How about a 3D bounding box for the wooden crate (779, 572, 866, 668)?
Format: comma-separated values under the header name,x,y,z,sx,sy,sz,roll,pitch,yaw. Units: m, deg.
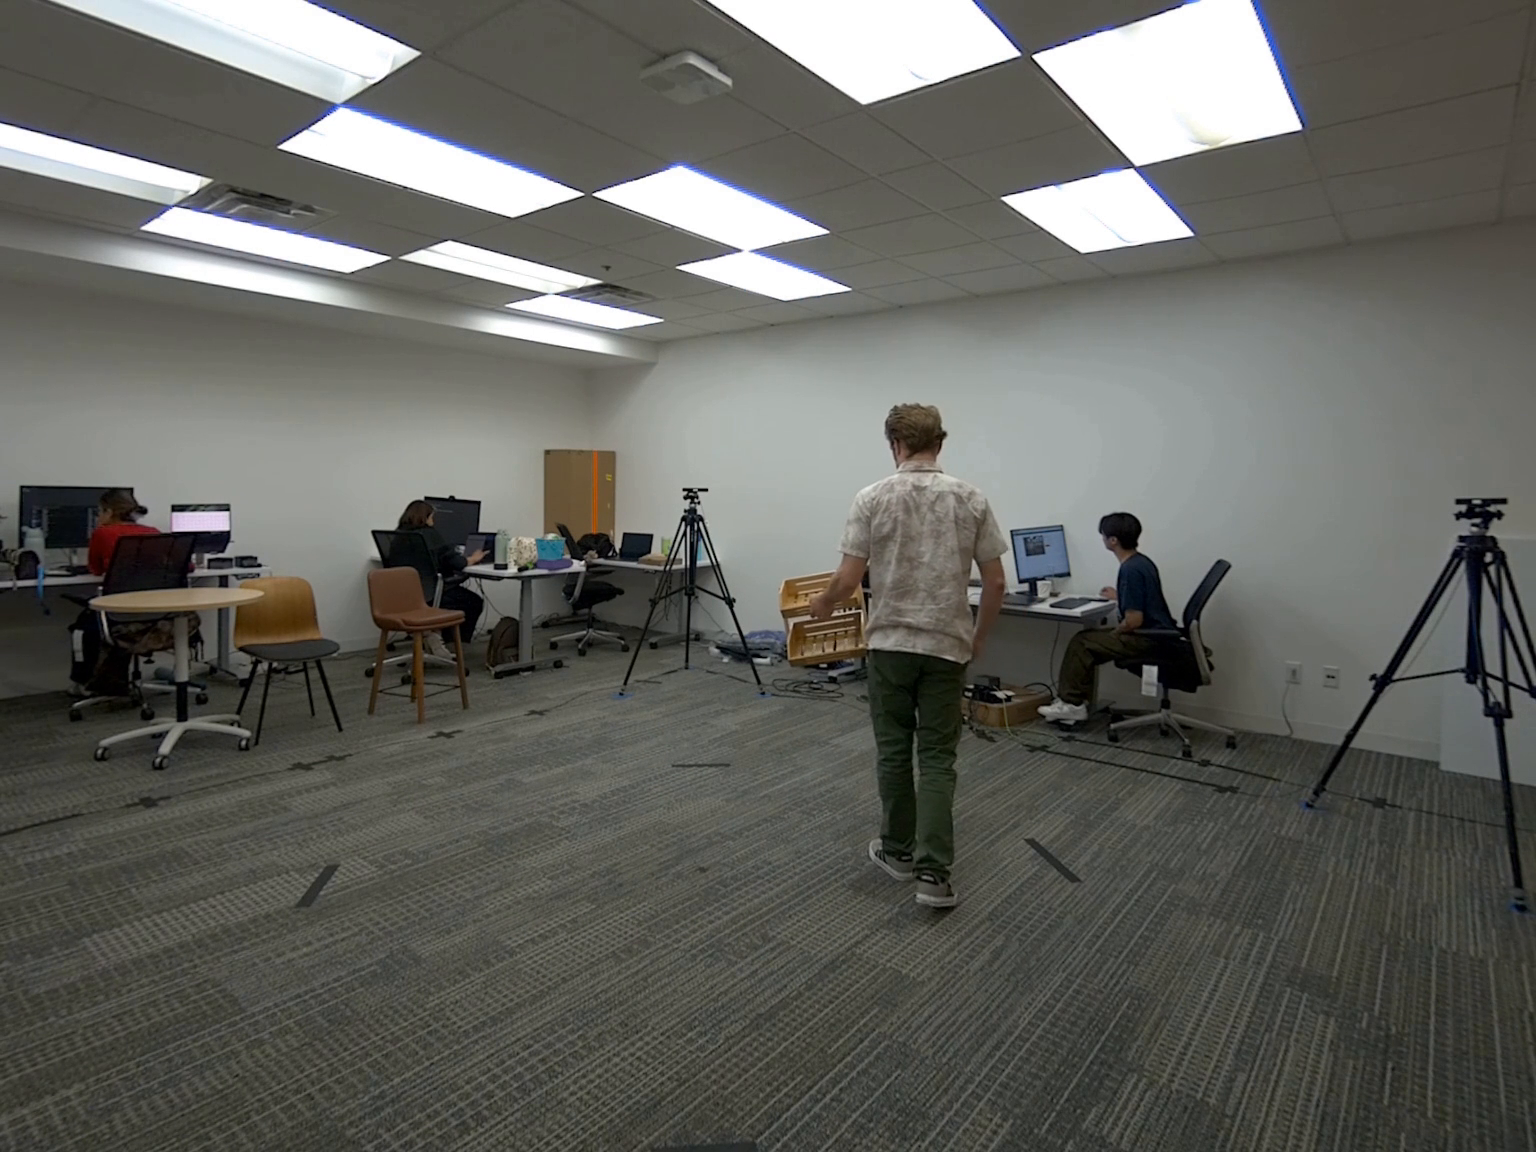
name,x,y,z,sx,sy,sz,roll,pitch,yaw
wooden crate,0.220,0.155,3.345,0.328,0.268,0.305,-10,18,12
